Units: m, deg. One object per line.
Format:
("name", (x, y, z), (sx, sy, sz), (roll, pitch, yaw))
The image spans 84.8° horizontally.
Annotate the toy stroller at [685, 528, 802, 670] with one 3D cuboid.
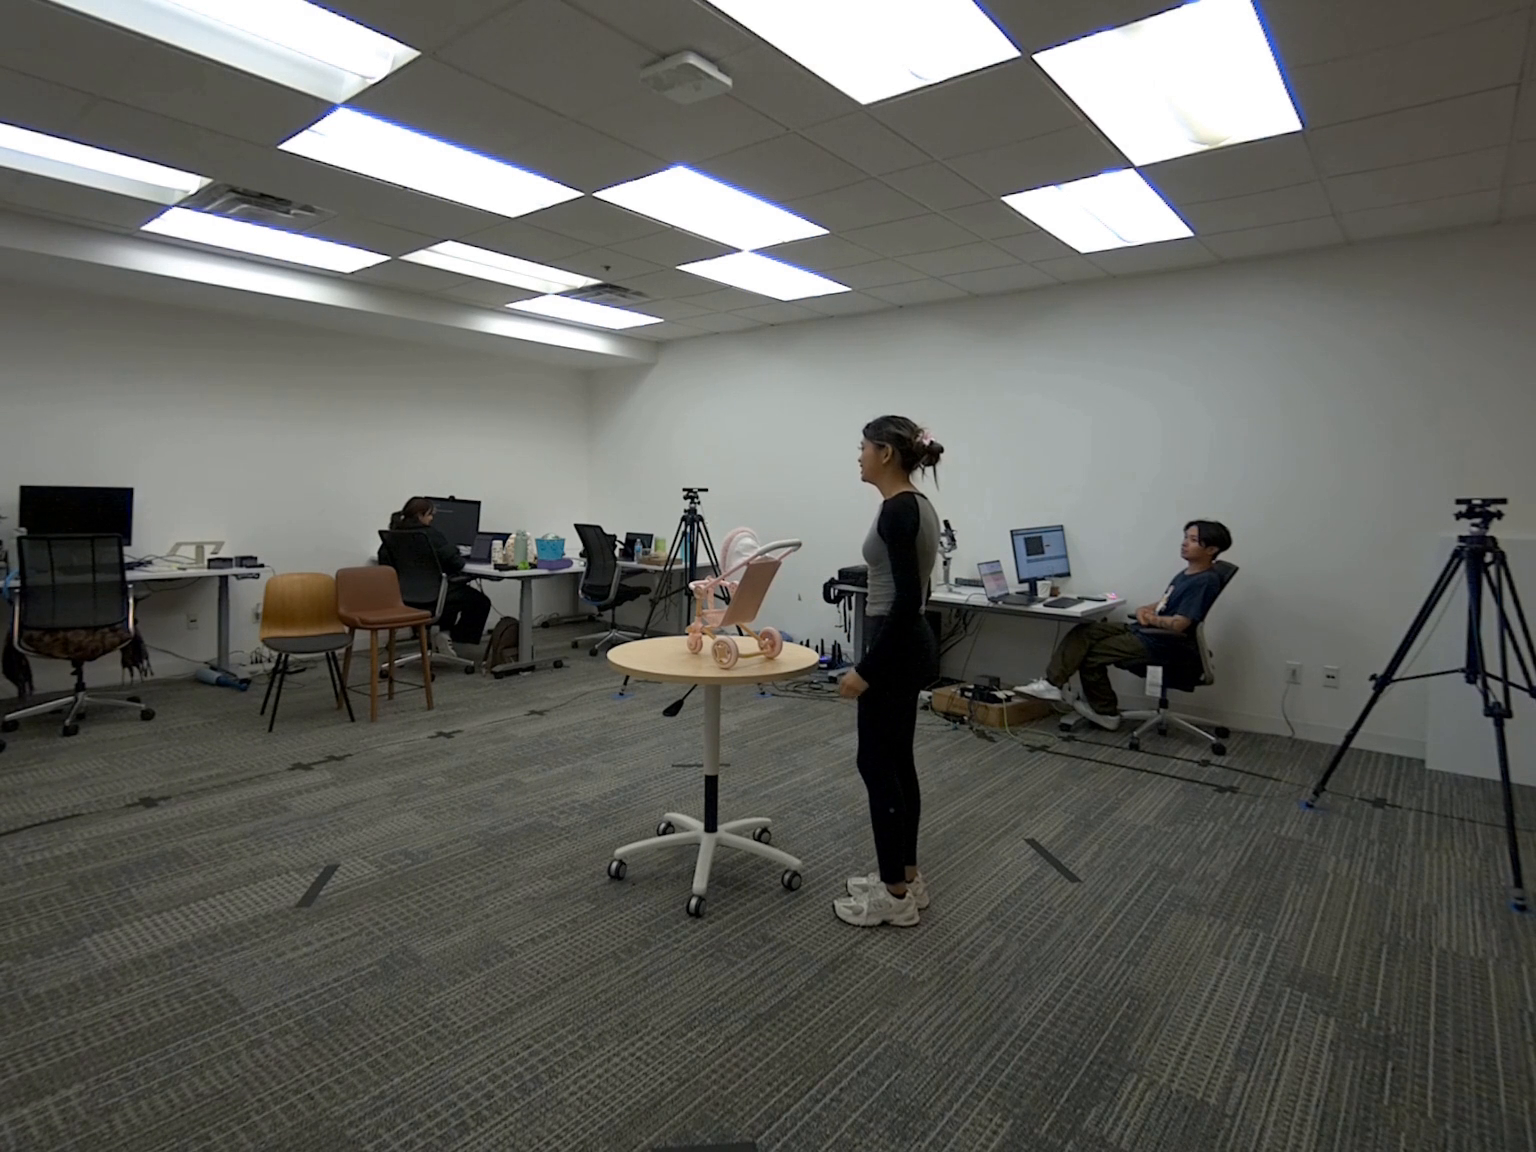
("toy stroller", (-0.125, 0.069, 2.953), (0.355, 0.530, 0.273), (26, 19, 40))
